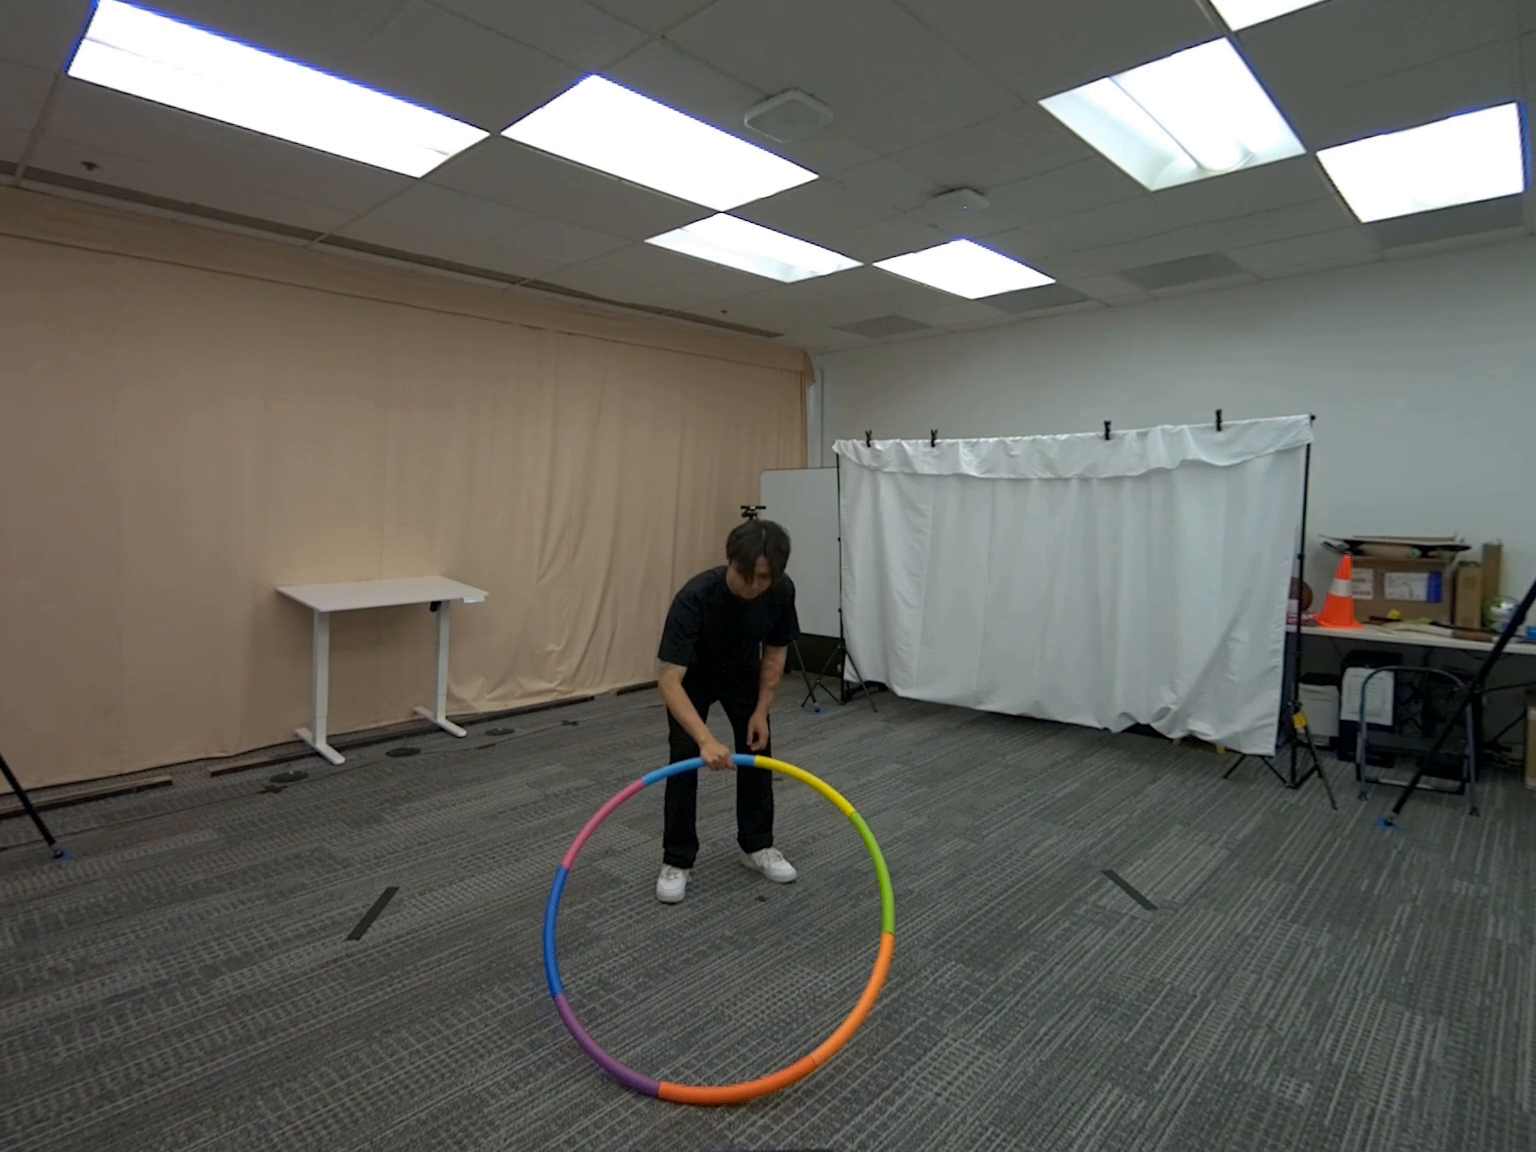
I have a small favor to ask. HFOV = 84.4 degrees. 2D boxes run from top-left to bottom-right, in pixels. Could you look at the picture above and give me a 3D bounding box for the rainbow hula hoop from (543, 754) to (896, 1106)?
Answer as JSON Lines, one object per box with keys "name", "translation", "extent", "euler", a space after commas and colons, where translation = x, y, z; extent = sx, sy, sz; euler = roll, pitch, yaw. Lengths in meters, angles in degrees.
{"name": "rainbow hula hoop", "translation": [-0.135, 0.911, 2.337], "extent": [0.983, 0.035, 0.997], "euler": [-7, 39, 4]}
